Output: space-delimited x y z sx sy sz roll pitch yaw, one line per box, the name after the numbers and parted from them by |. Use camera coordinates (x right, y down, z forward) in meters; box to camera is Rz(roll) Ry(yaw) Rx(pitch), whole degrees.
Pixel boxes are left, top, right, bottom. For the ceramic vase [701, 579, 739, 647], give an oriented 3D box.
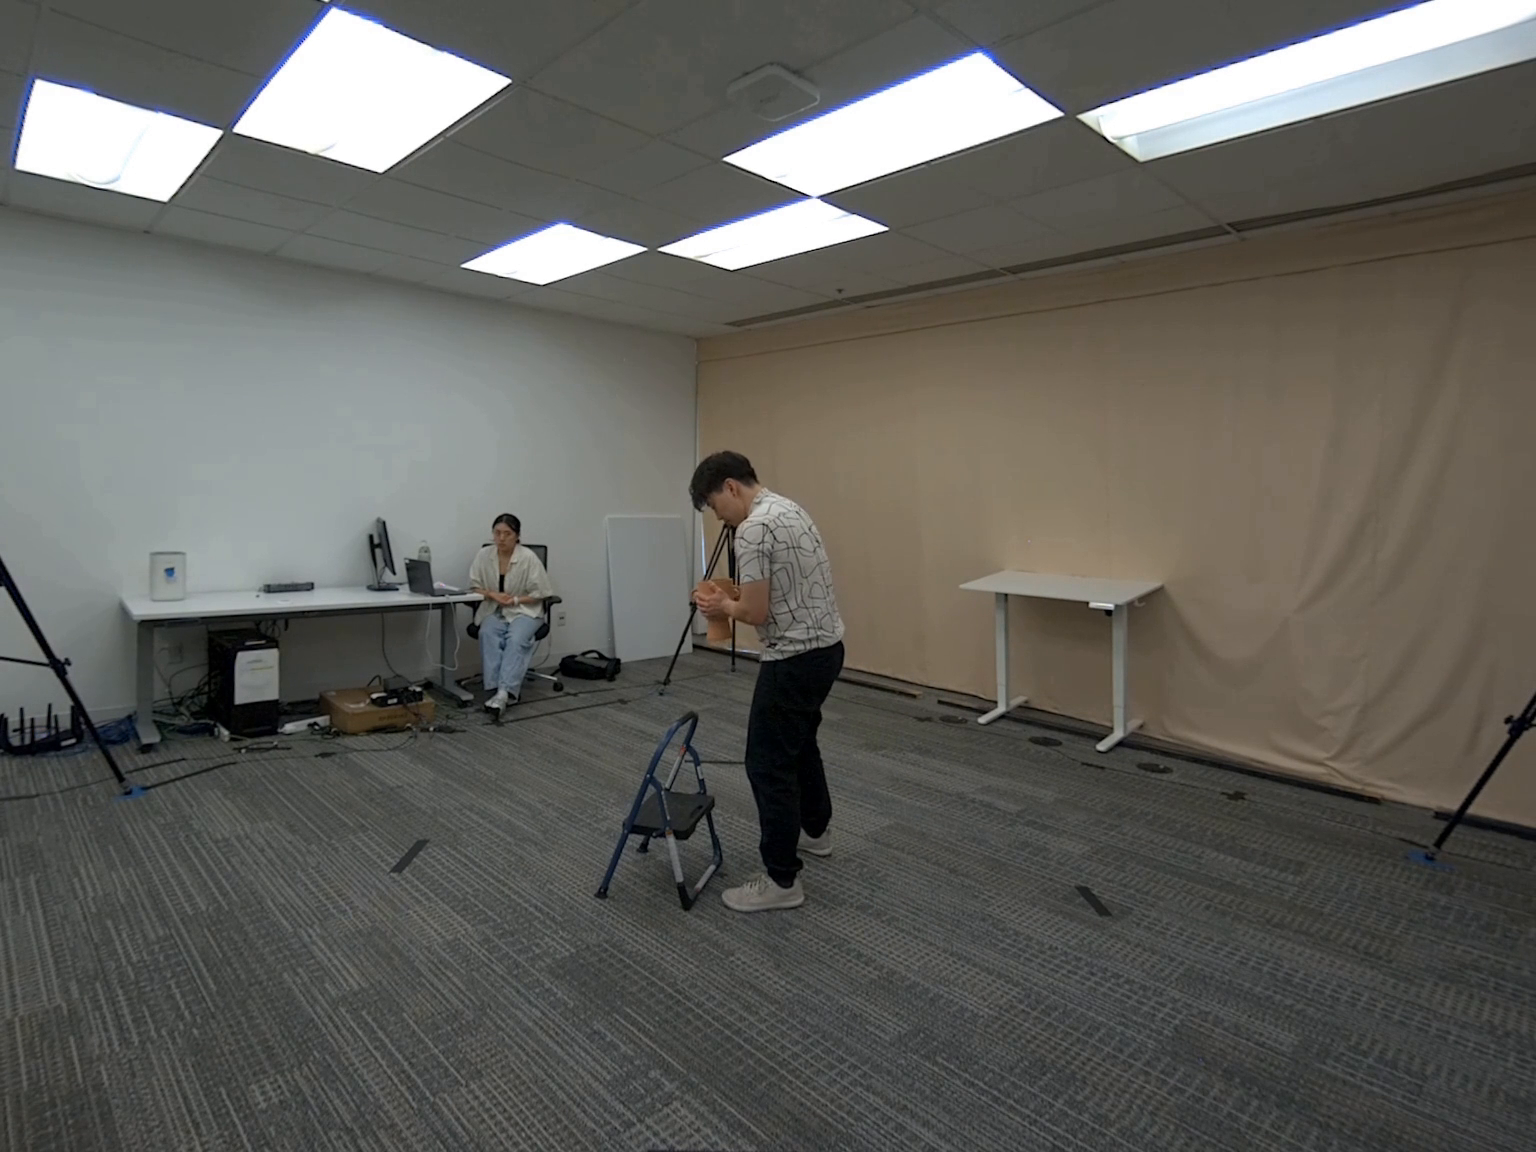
-0.187 0.129 3.154 0.132 0.219 0.162 -6 2 -45 | ceramic vase
